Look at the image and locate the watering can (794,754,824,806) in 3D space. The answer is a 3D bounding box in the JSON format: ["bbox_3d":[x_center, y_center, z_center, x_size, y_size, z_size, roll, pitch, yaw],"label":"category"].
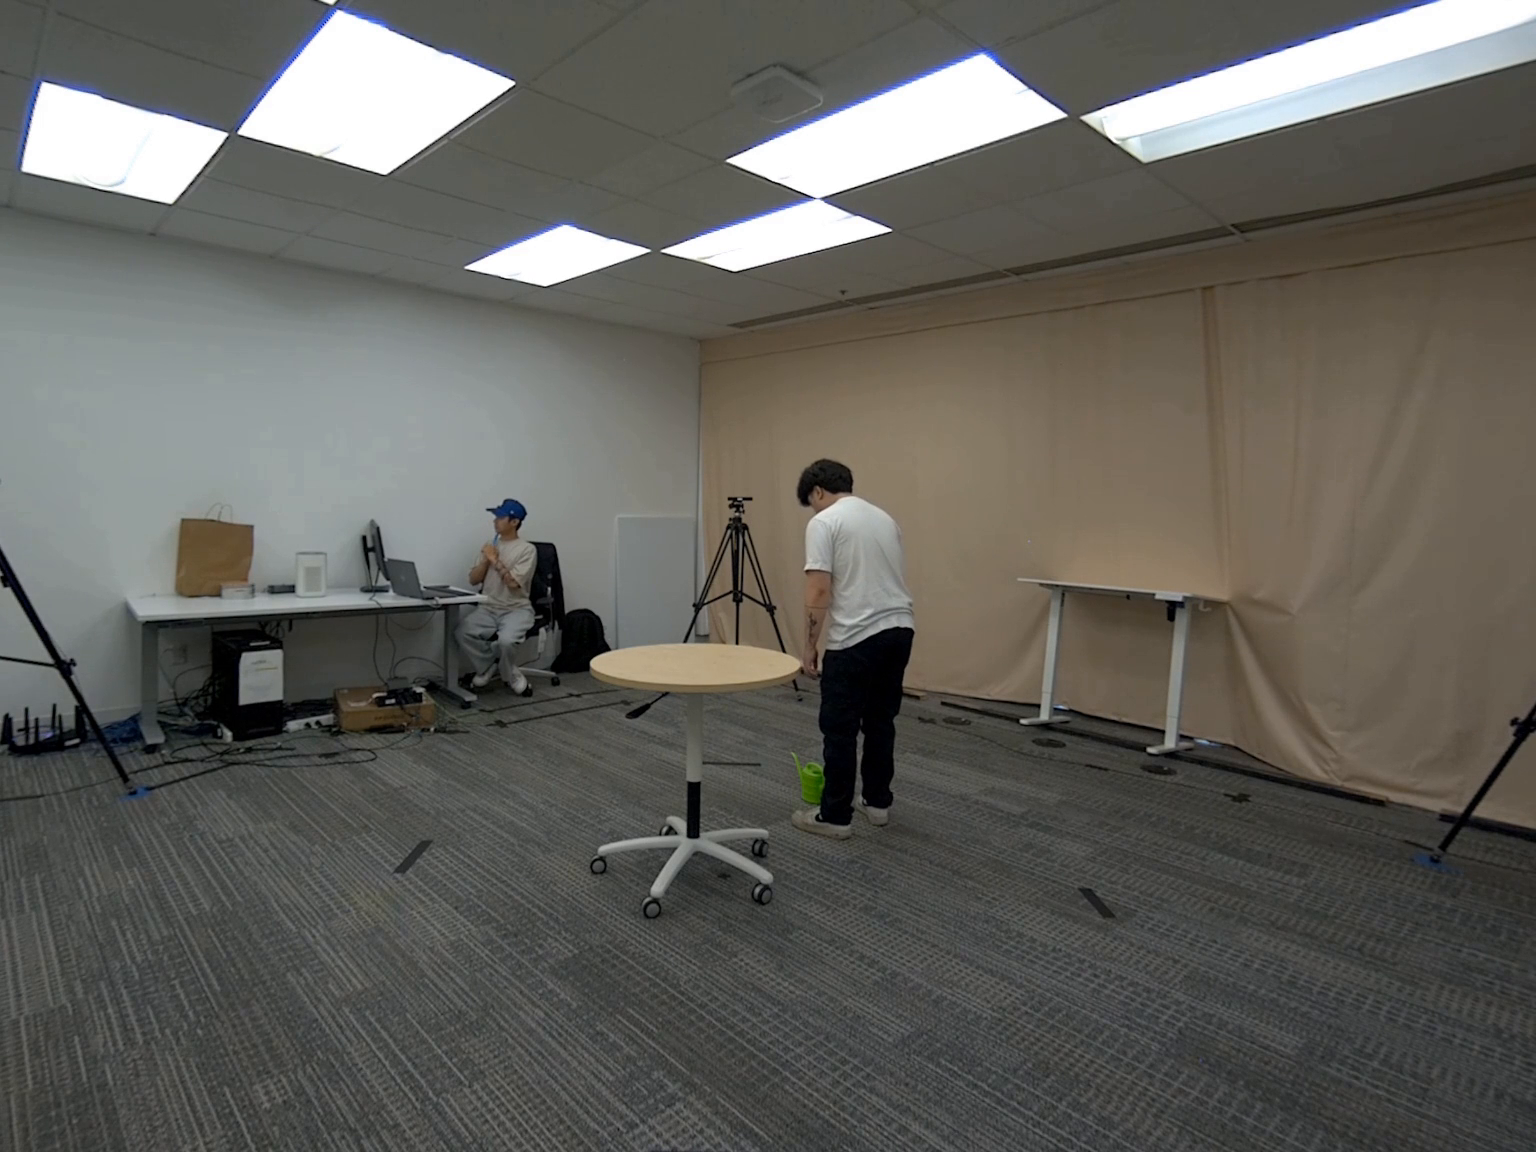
[{"bbox_3d":[0.189,0.952,3.979,0.096,0.176,0.283,2,5,-18],"label":"watering can"}]
